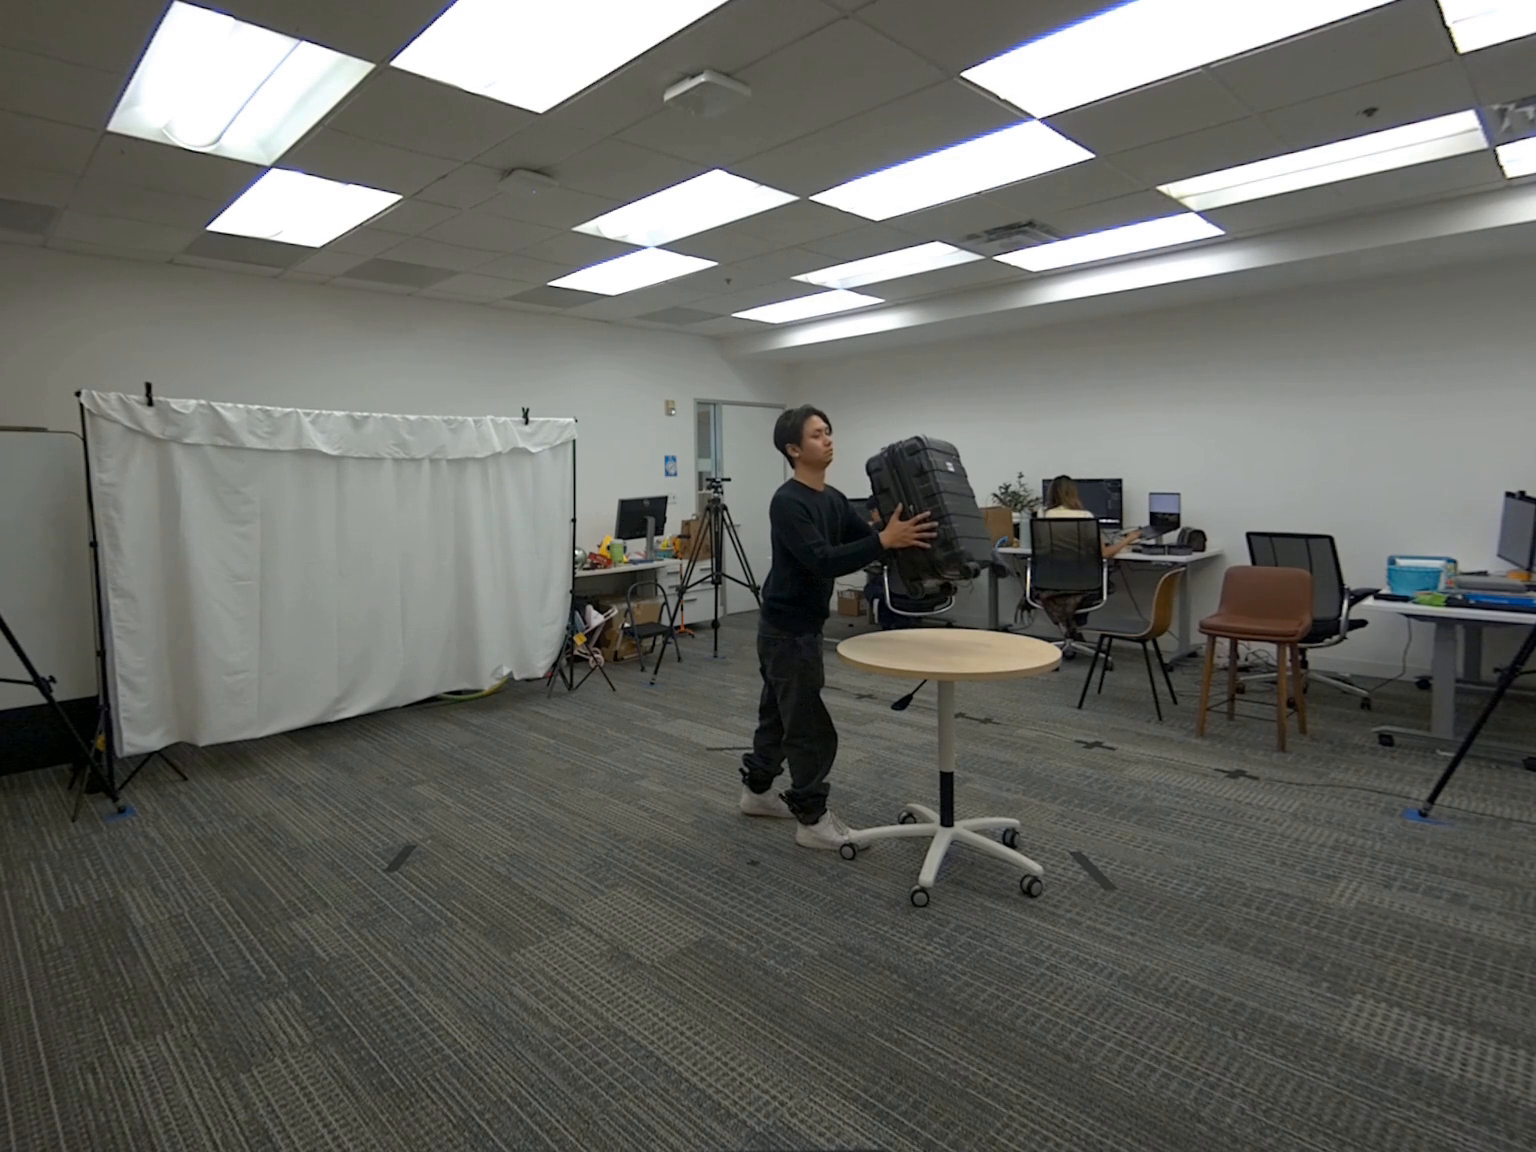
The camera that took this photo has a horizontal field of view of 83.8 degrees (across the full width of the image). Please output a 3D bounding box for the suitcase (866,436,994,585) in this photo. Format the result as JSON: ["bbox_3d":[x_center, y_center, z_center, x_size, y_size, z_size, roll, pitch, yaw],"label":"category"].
[{"bbox_3d":[0.580,-0.216,3.037,0.252,0.558,0.364,-25,-17,33],"label":"suitcase"}]
